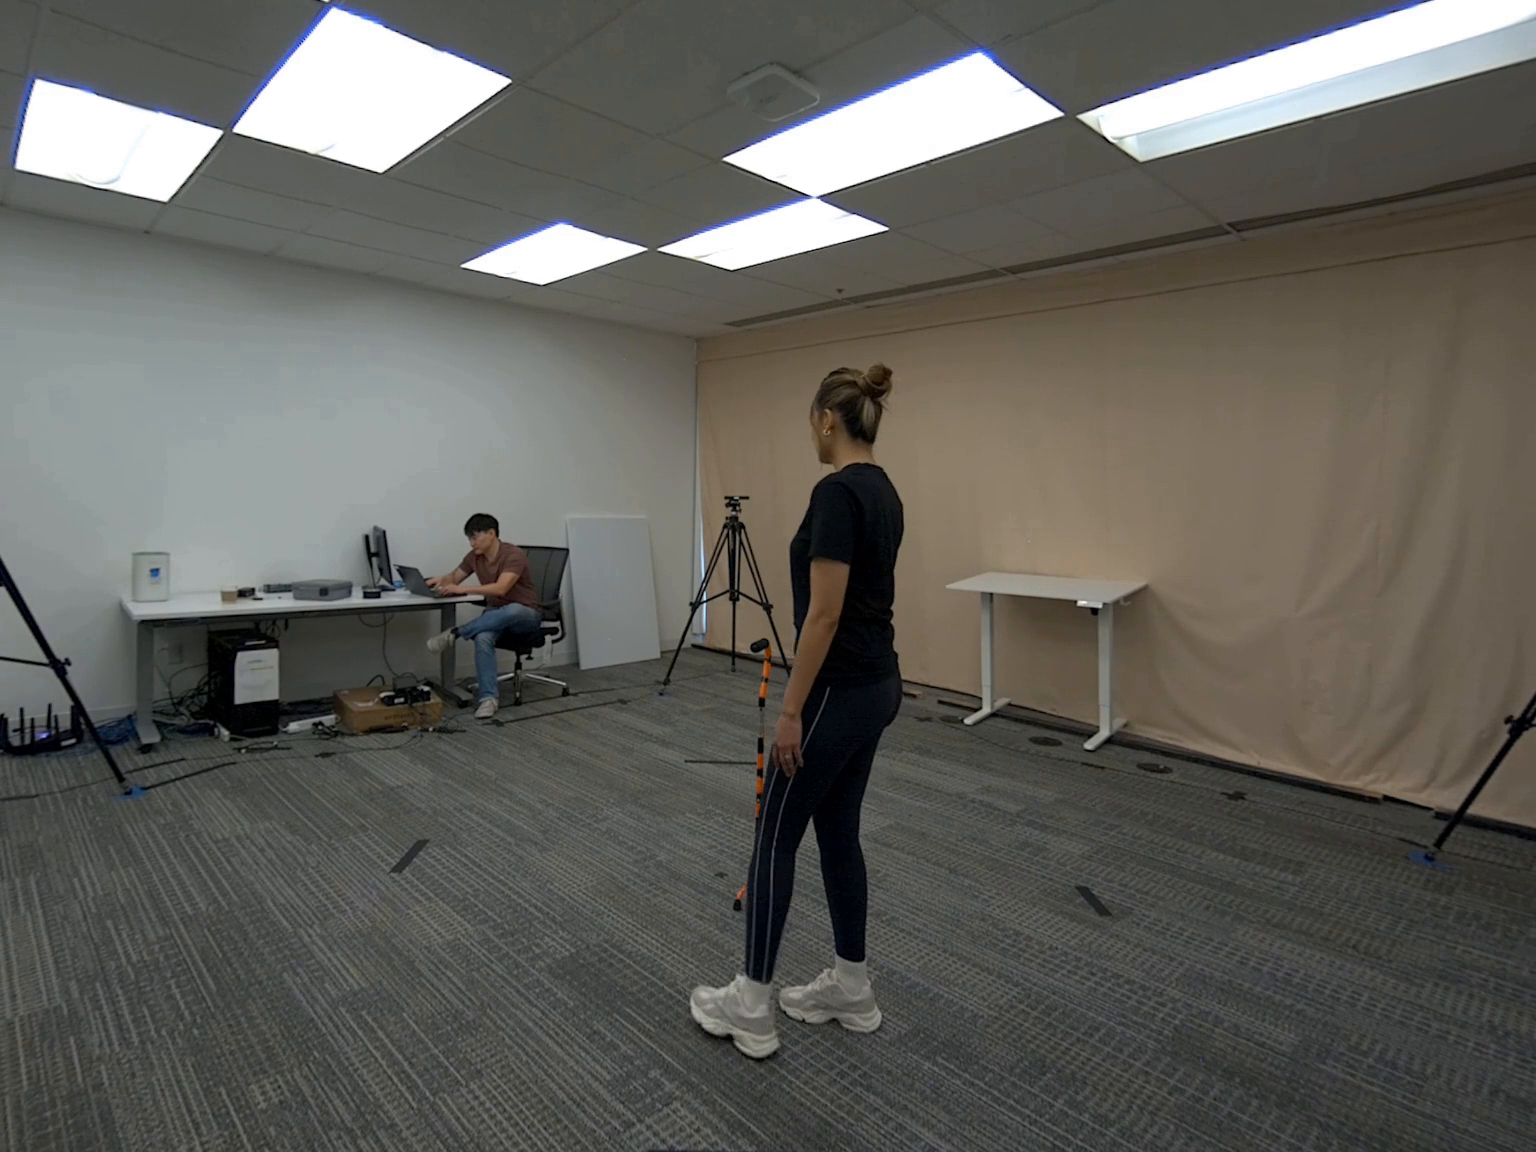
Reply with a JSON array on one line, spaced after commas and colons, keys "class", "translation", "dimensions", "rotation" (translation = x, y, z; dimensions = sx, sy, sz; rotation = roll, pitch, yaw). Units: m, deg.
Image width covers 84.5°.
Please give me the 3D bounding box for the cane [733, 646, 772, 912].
[{"class": "cane", "translation": [-0.013, 0.674, 2.884], "dimensions": [0.154, 0.906, 0.204], "rotation": [2, 3, 16]}]
